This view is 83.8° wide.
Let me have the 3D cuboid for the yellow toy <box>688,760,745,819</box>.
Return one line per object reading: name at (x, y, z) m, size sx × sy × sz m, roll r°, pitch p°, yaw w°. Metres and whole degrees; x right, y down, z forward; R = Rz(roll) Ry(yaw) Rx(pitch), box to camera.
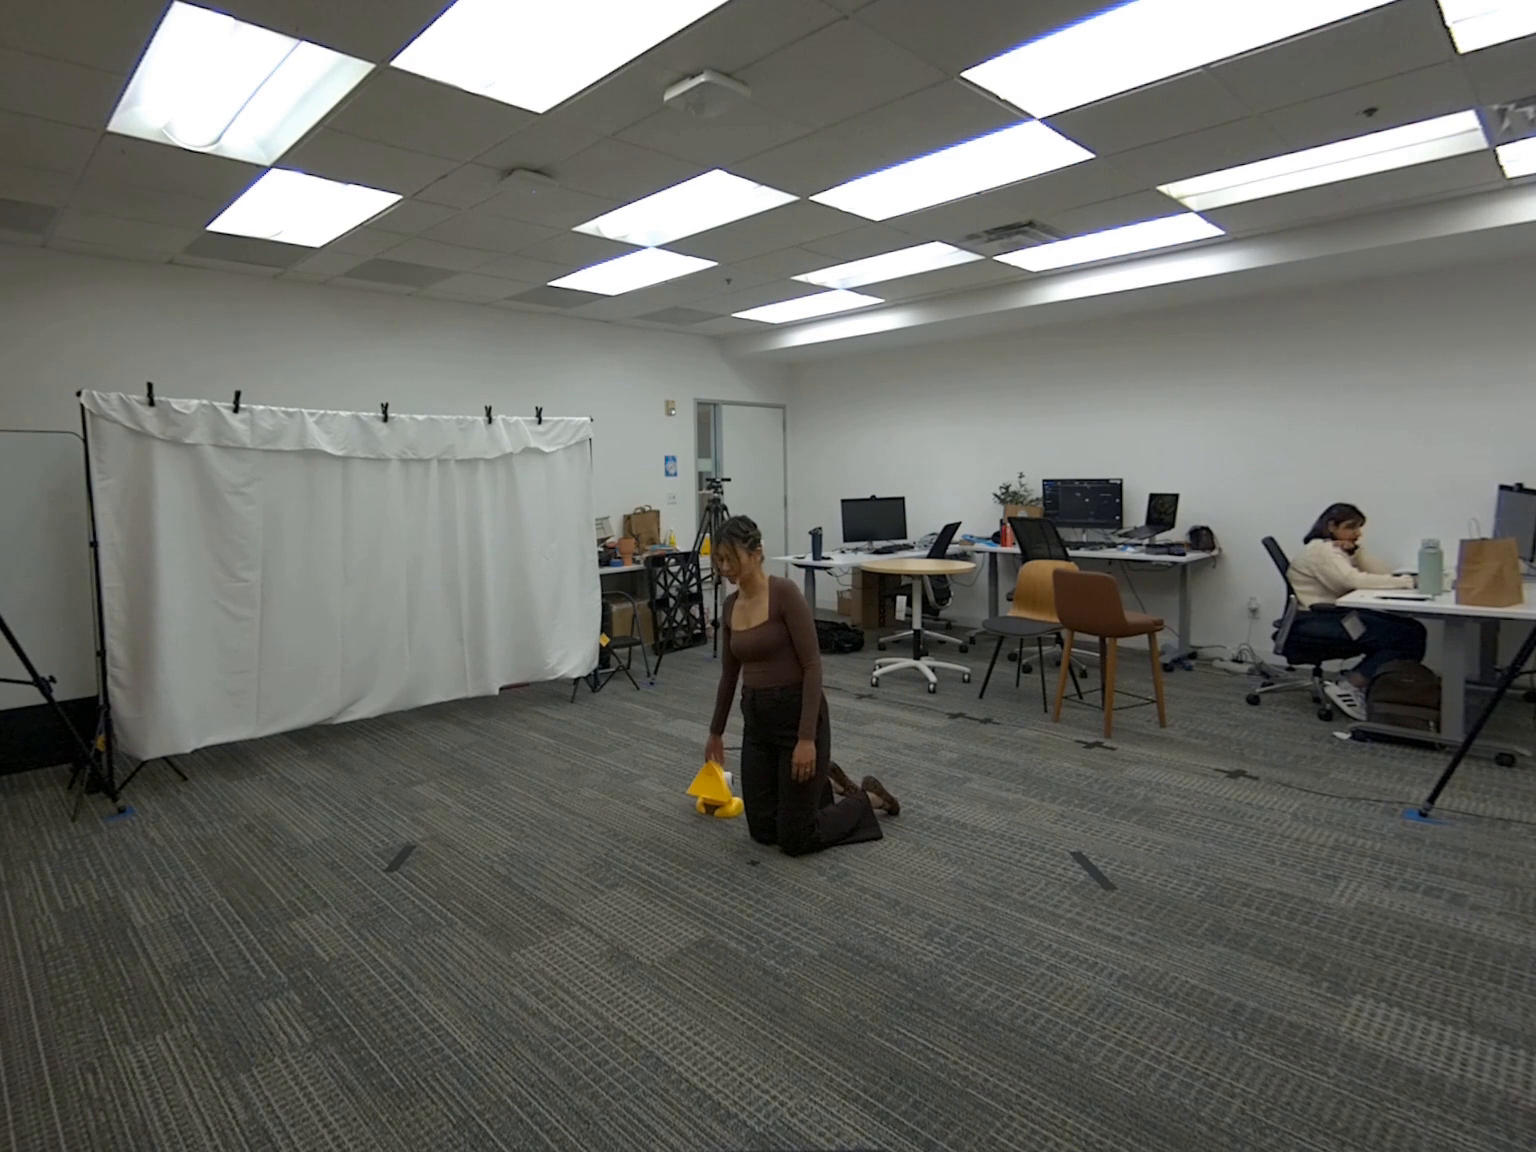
yellow toy at (-0.210, 0.874, 3.613) m, size 0.210 × 0.230 × 0.188 m, roll 1°, pitch 6°, yaw 34°
